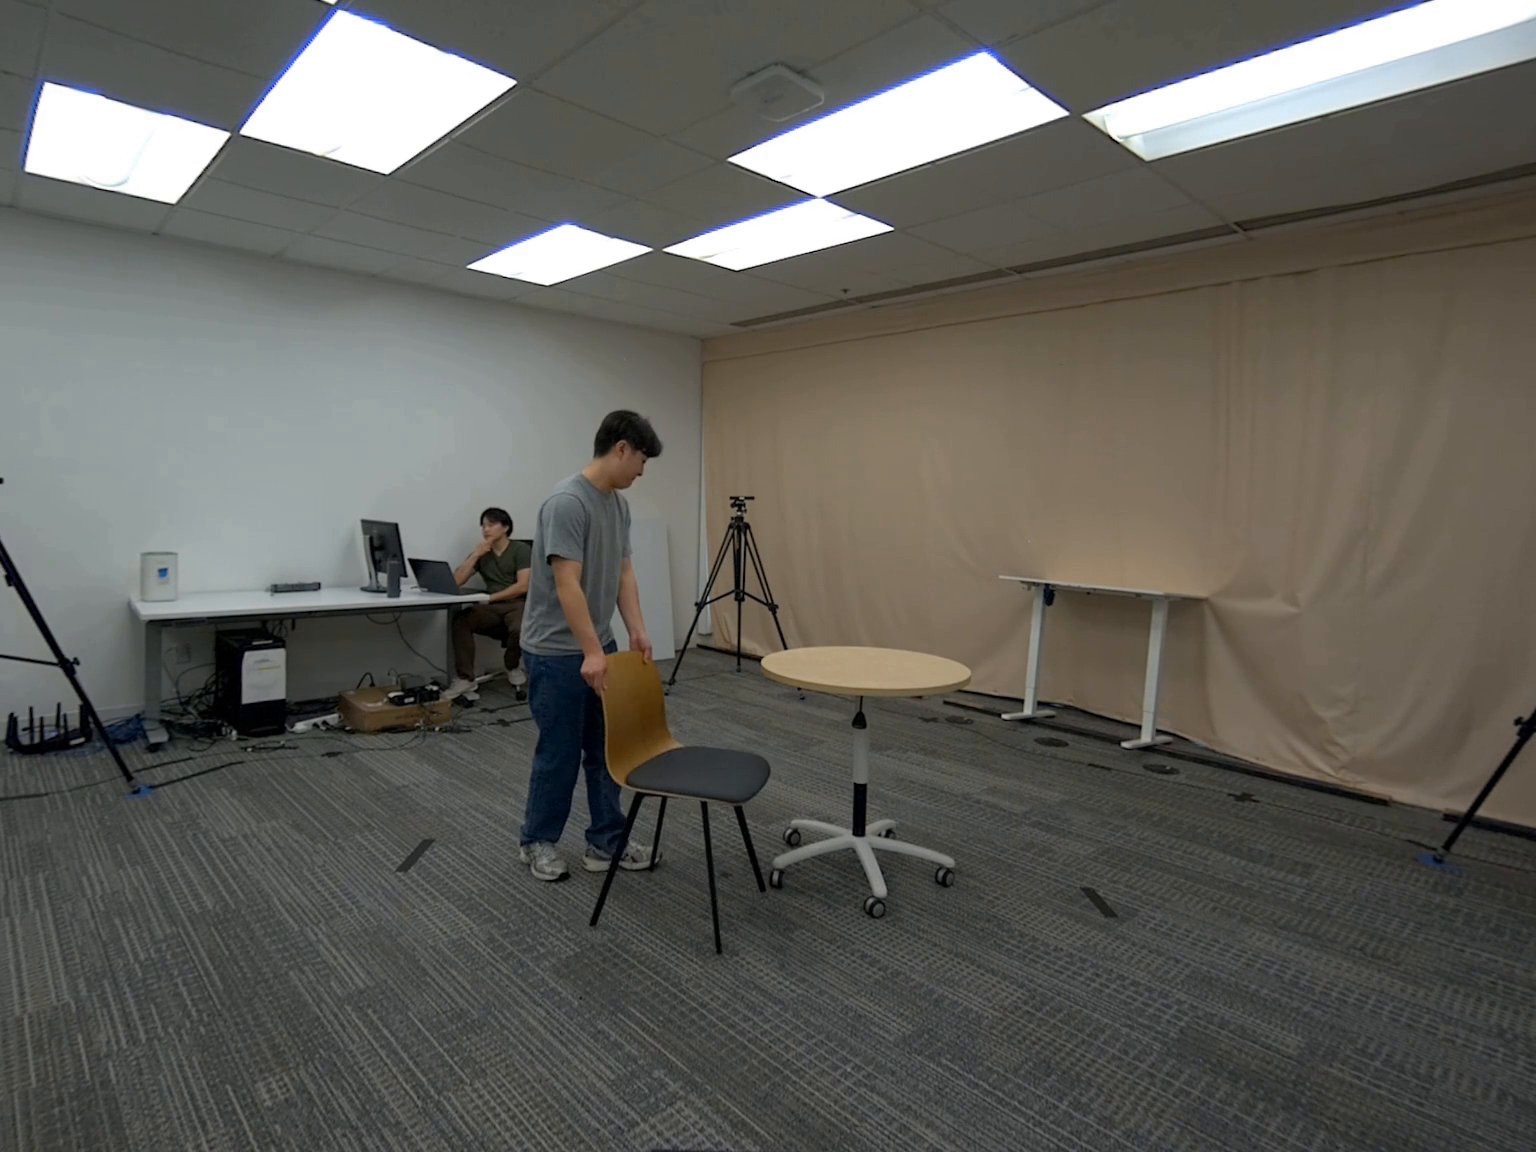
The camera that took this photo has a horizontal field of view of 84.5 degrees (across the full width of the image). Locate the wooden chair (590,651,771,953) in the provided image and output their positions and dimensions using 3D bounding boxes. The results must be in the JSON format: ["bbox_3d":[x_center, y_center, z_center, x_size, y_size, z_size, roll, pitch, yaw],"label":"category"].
[{"bbox_3d":[-0.282,0.701,2.811,0.531,0.876,0.471,-2,2,20],"label":"wooden chair"}]
